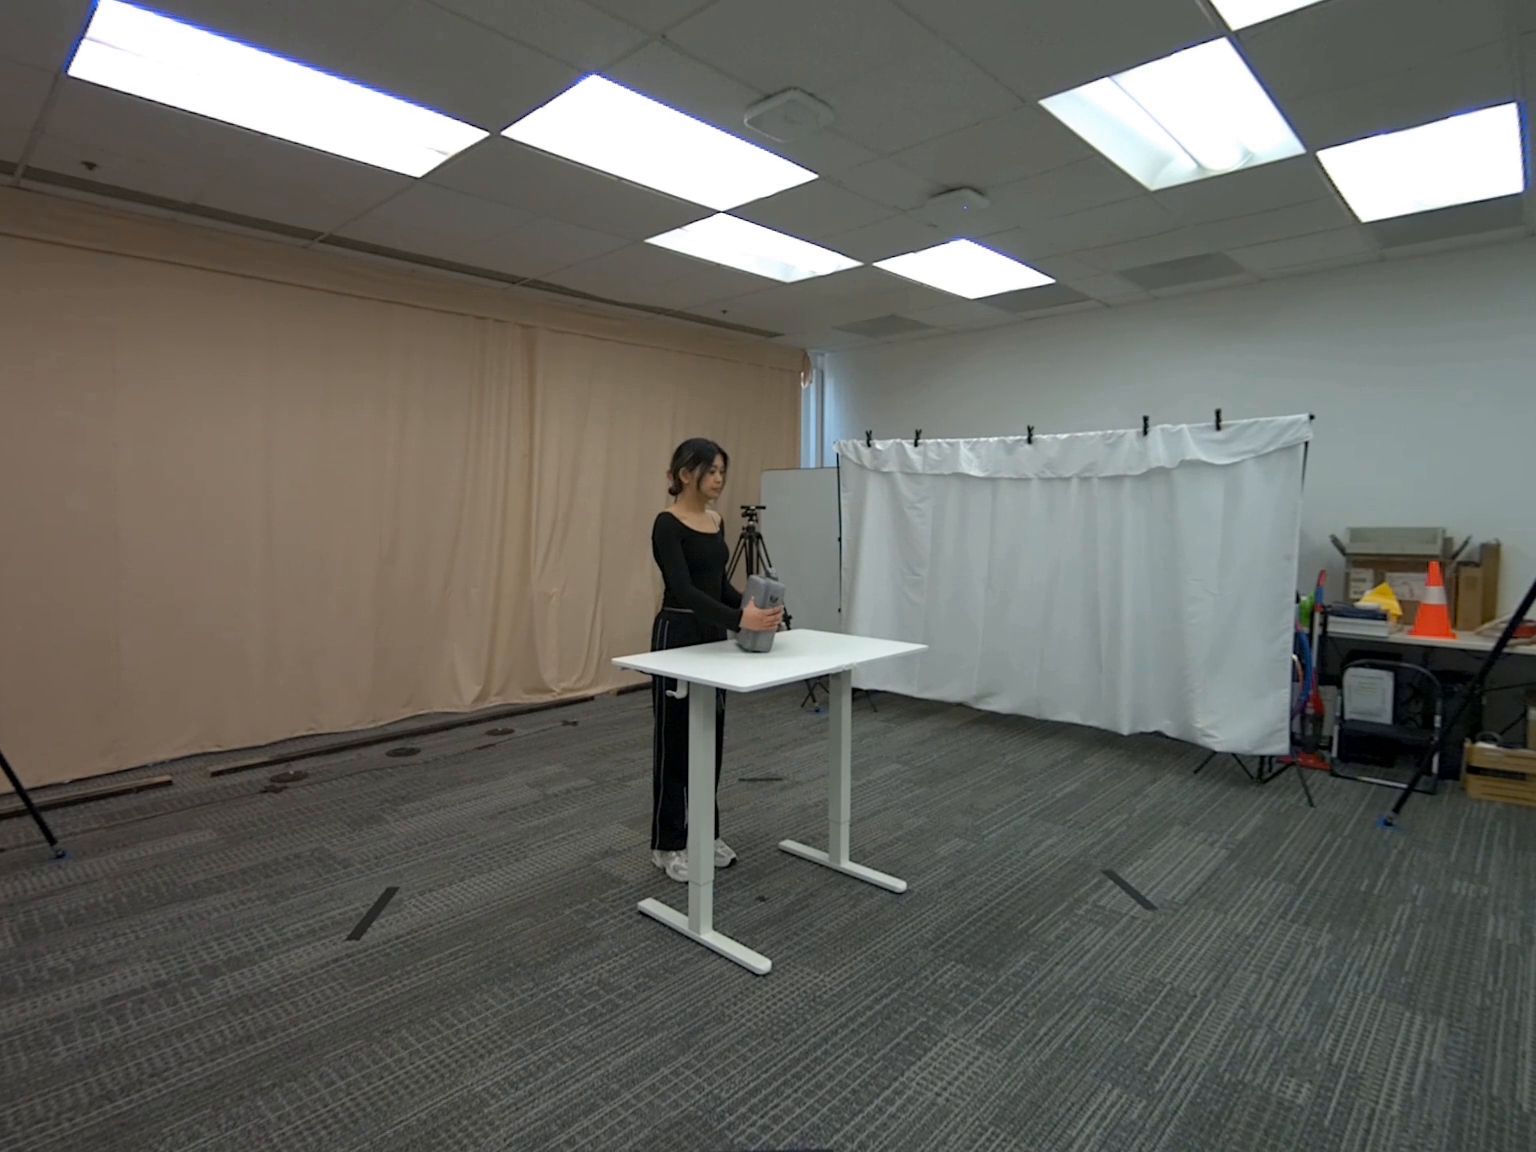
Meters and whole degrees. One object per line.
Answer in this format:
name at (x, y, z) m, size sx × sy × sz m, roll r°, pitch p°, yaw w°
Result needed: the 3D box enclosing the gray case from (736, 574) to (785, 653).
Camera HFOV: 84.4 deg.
gray case at (-0.026, 0.131, 3.010) m, size 0.103 × 0.260 × 0.260 m, roll 14°, pitch 2°, yaw -11°
